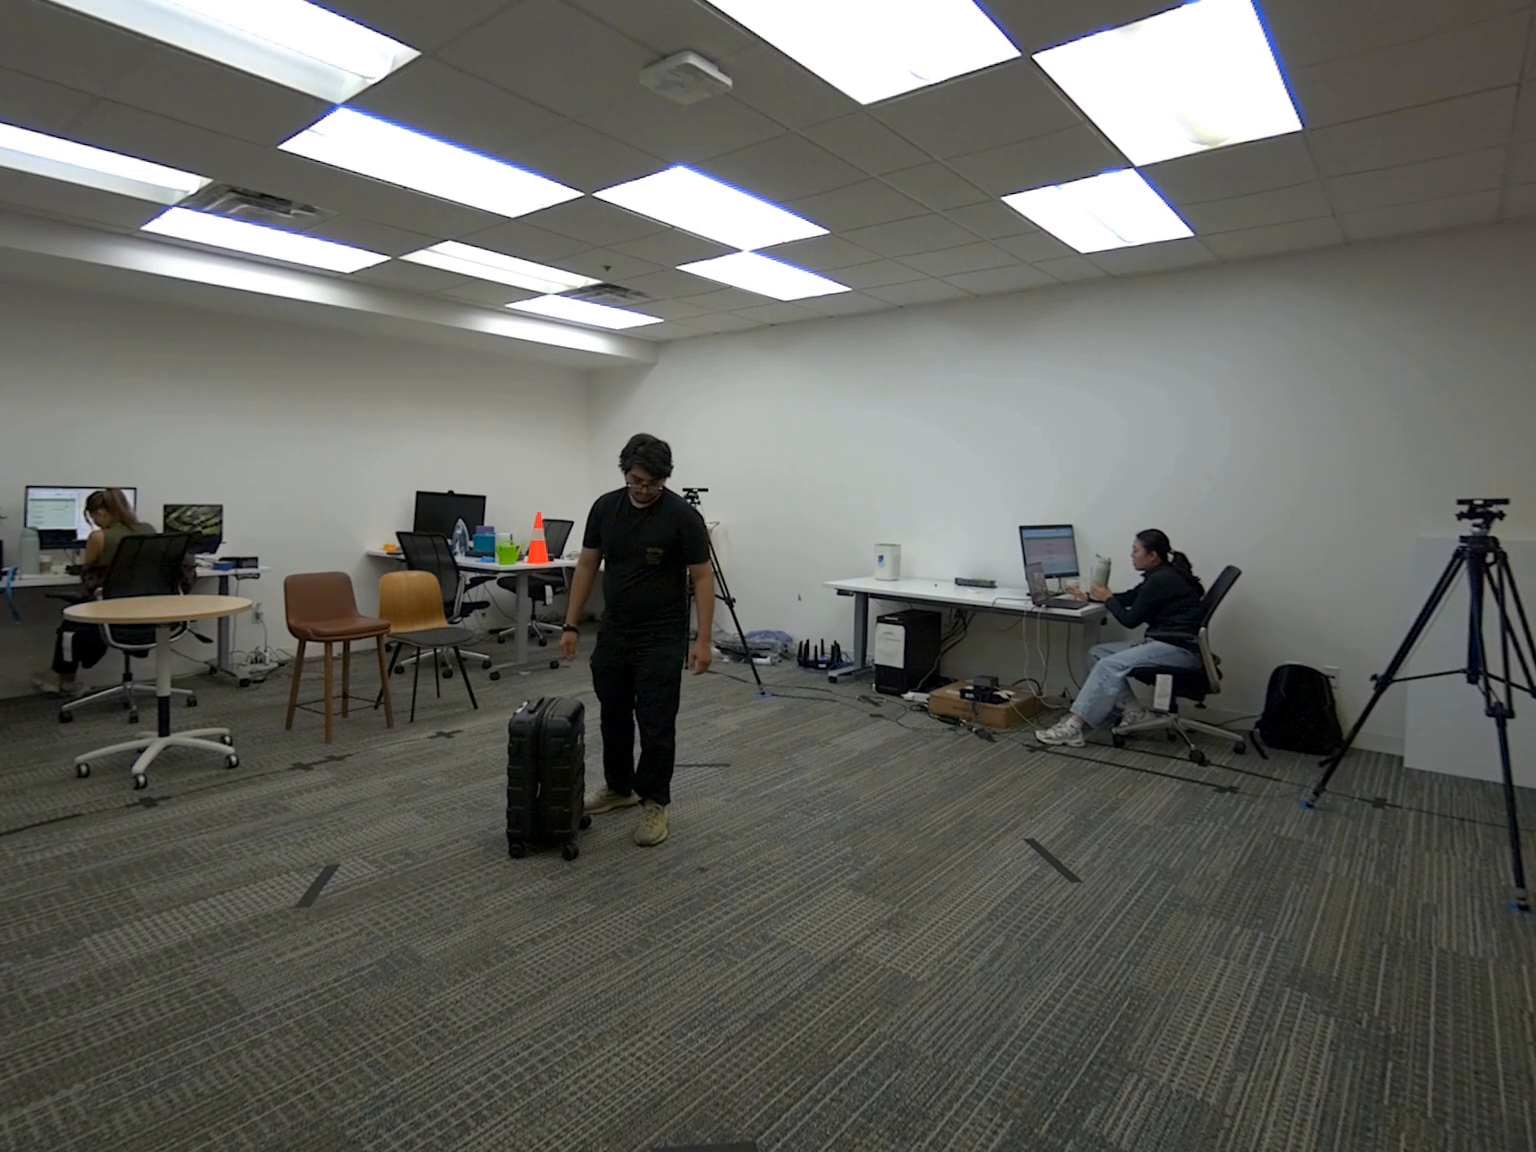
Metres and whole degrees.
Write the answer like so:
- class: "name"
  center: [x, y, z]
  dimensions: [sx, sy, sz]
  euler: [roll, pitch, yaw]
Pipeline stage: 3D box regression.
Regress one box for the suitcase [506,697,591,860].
- class: "suitcase"
  center: [-0.876, 0.761, 3.319]
  dimensions: [0.248, 0.548, 0.377]
  euler: [1, 3, -3]
